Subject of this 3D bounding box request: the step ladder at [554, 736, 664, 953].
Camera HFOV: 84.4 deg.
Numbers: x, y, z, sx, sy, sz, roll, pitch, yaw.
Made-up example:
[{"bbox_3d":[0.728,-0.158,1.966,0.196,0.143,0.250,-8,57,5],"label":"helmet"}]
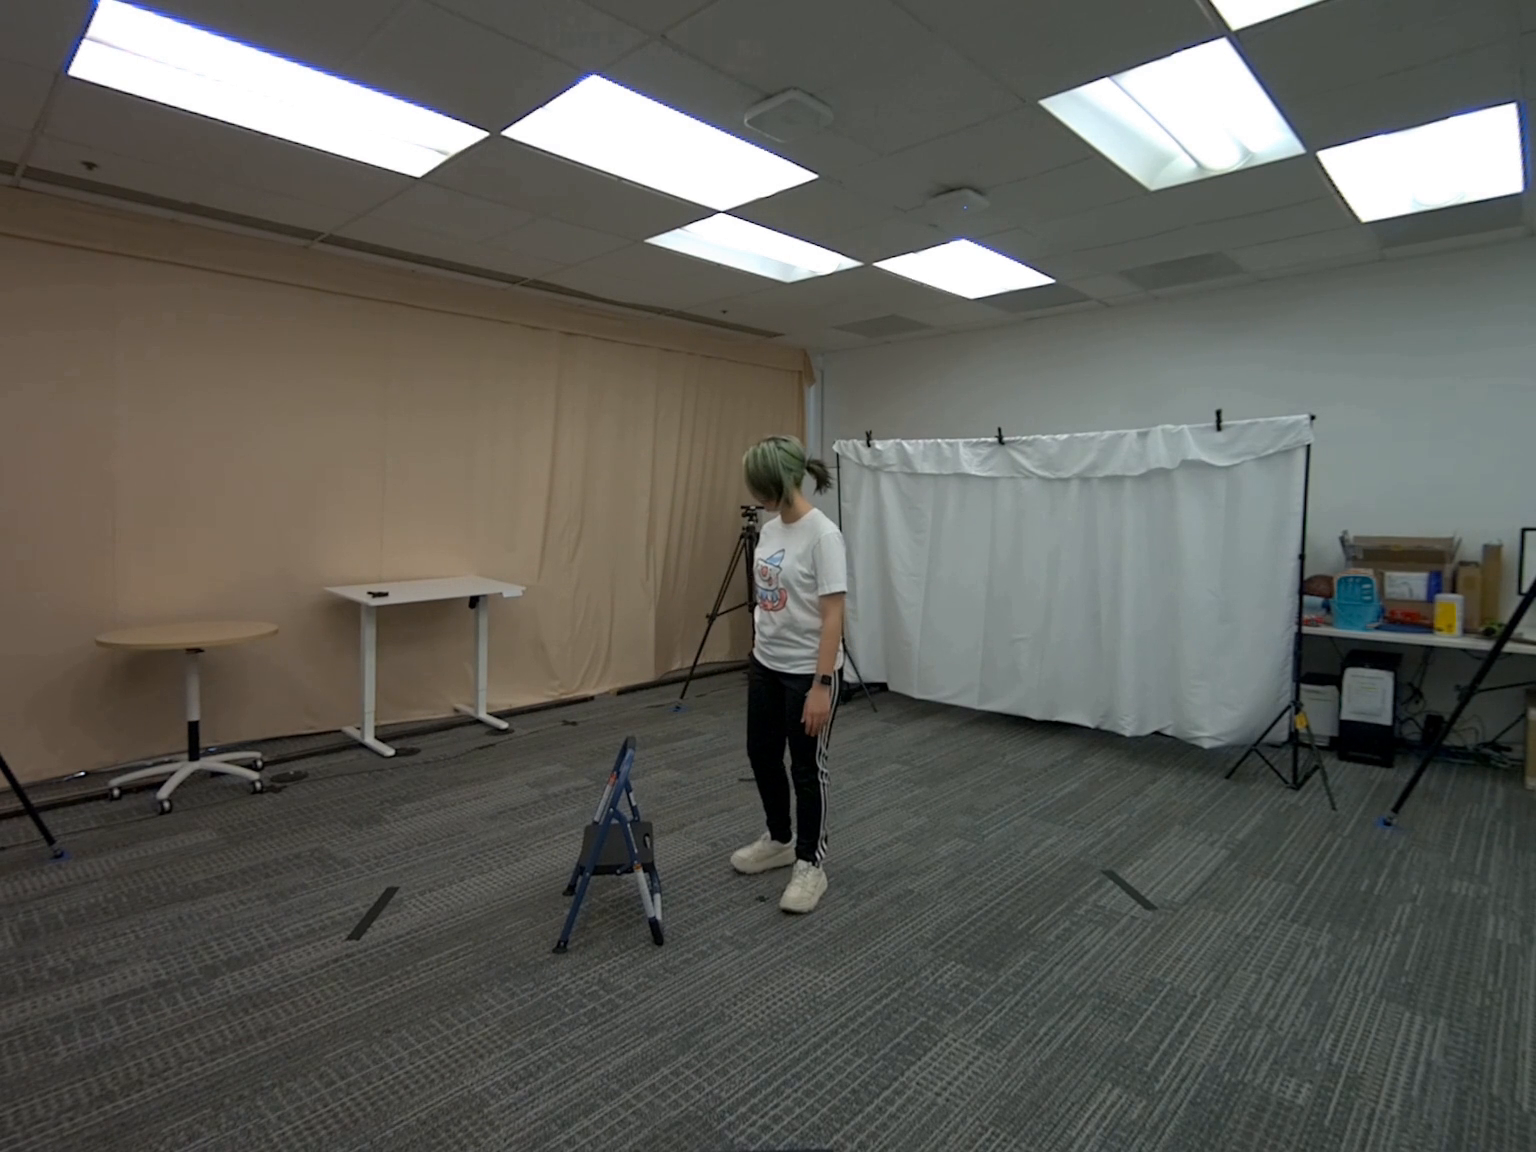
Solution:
[{"bbox_3d":[-0.532,0.860,2.836,0.346,0.605,0.435,-1,3,-9],"label":"step ladder"}]
